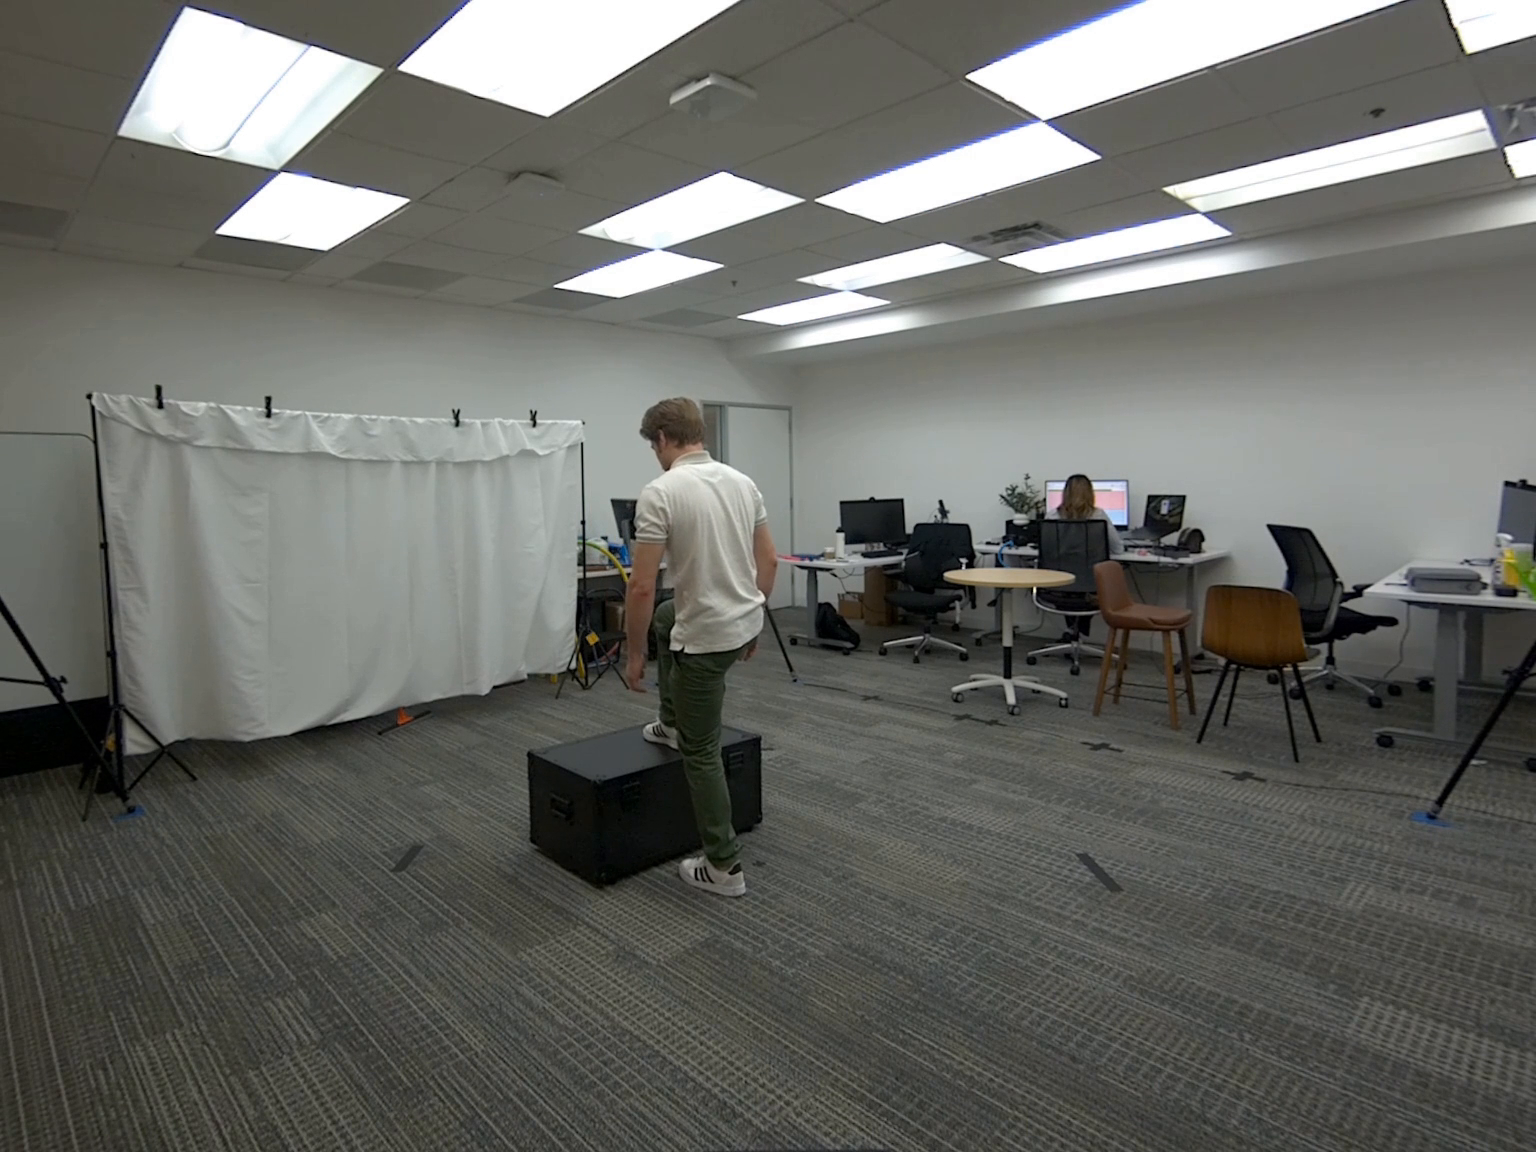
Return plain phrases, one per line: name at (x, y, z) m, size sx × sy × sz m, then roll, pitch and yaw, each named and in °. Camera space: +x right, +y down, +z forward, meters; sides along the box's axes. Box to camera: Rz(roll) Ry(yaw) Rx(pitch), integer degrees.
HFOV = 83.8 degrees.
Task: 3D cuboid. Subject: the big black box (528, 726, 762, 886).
big black box at (-0.443, 0.837, 3.364) m, size 0.839 × 0.394 × 0.537 m, roll -7°, pitch 8°, yaw -43°
